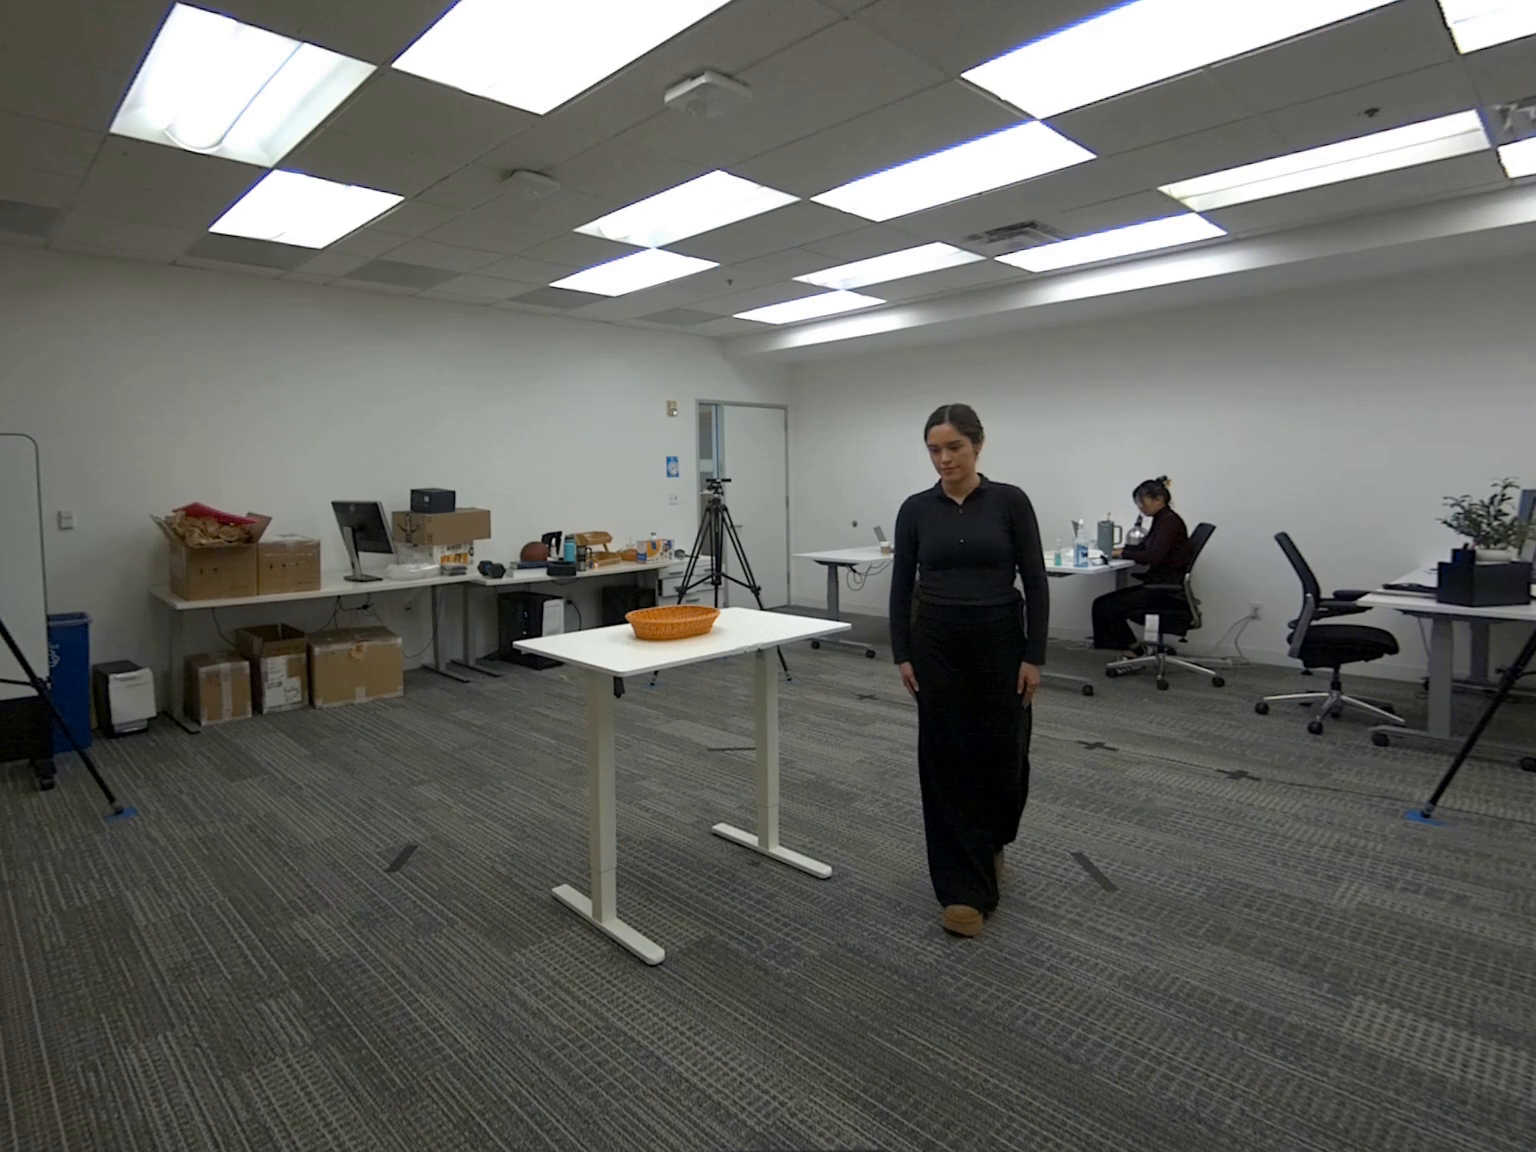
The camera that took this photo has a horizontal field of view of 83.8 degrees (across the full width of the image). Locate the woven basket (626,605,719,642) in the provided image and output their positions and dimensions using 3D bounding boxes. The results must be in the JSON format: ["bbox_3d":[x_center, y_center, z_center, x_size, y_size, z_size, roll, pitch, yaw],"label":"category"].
[{"bbox_3d":[-0.306,0.165,2.860,0.341,0.073,0.260,-6,9,-42],"label":"woven basket"}]
